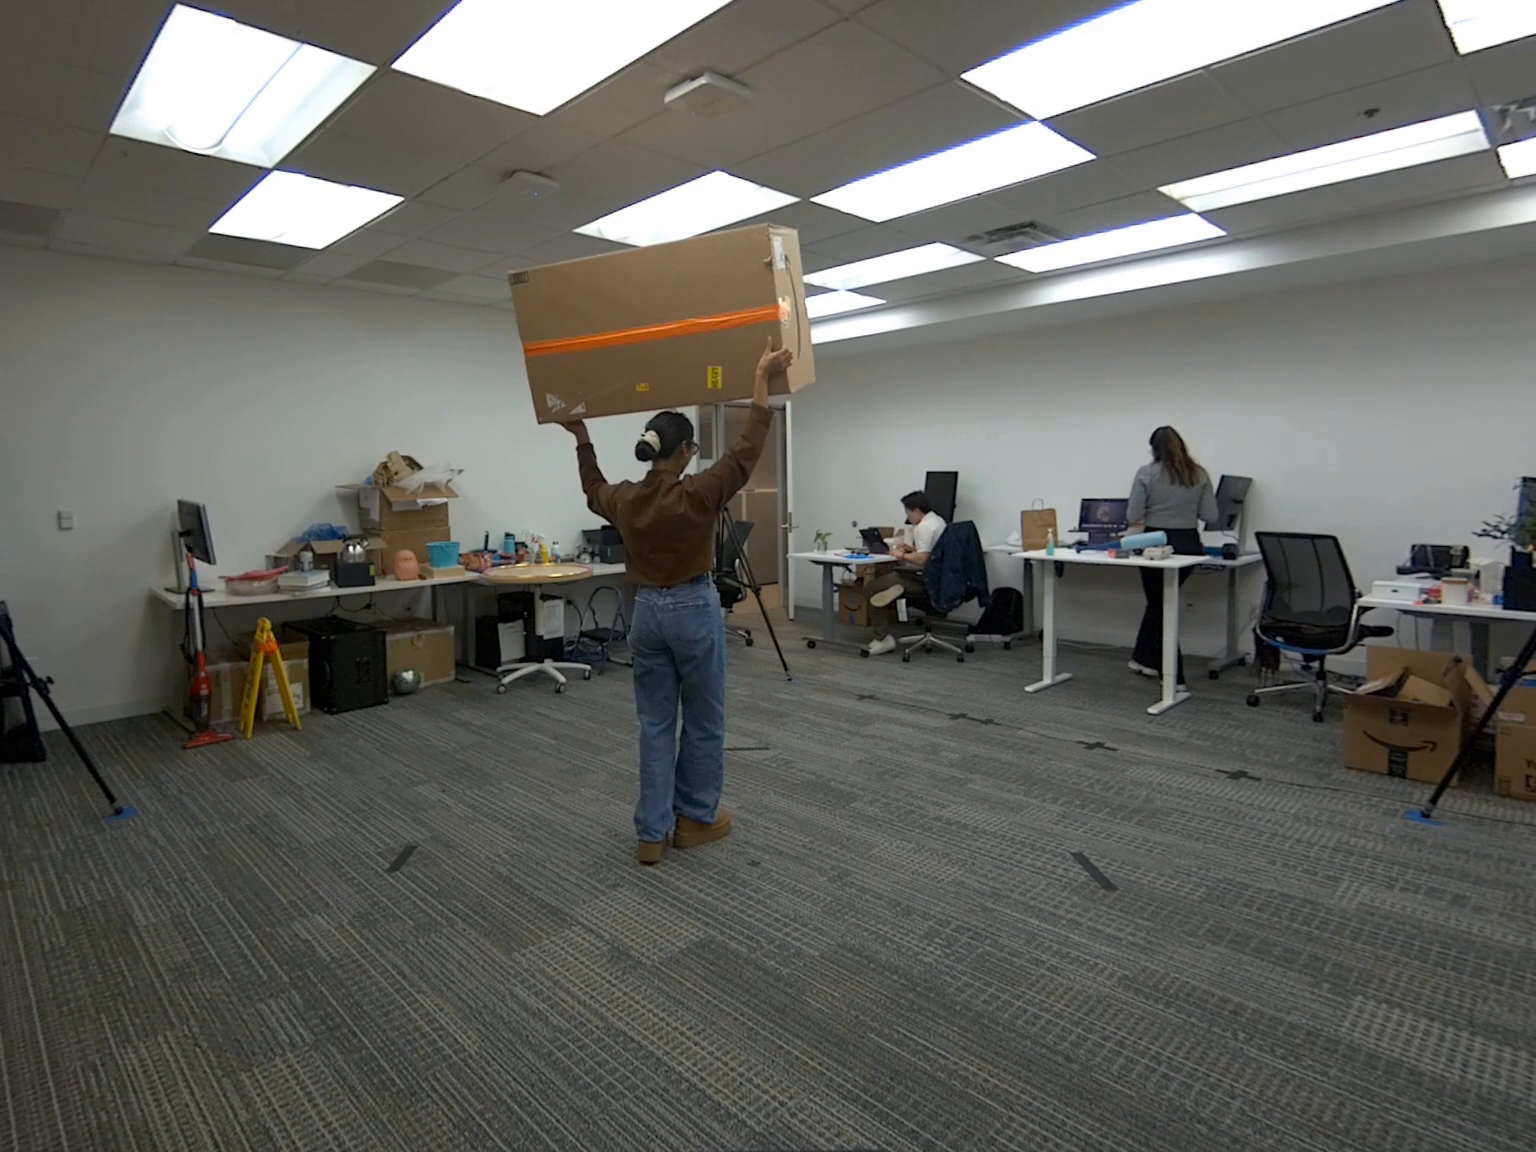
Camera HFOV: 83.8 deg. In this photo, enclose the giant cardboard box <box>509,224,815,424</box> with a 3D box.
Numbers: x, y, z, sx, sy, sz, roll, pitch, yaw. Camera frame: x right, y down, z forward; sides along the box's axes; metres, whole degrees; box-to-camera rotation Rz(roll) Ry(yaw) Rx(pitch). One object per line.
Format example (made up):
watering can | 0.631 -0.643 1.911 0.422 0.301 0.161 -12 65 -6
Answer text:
giant cardboard box | -0.391 -0.942 3.269 1.044 0.569 0.425 -3 16 20
